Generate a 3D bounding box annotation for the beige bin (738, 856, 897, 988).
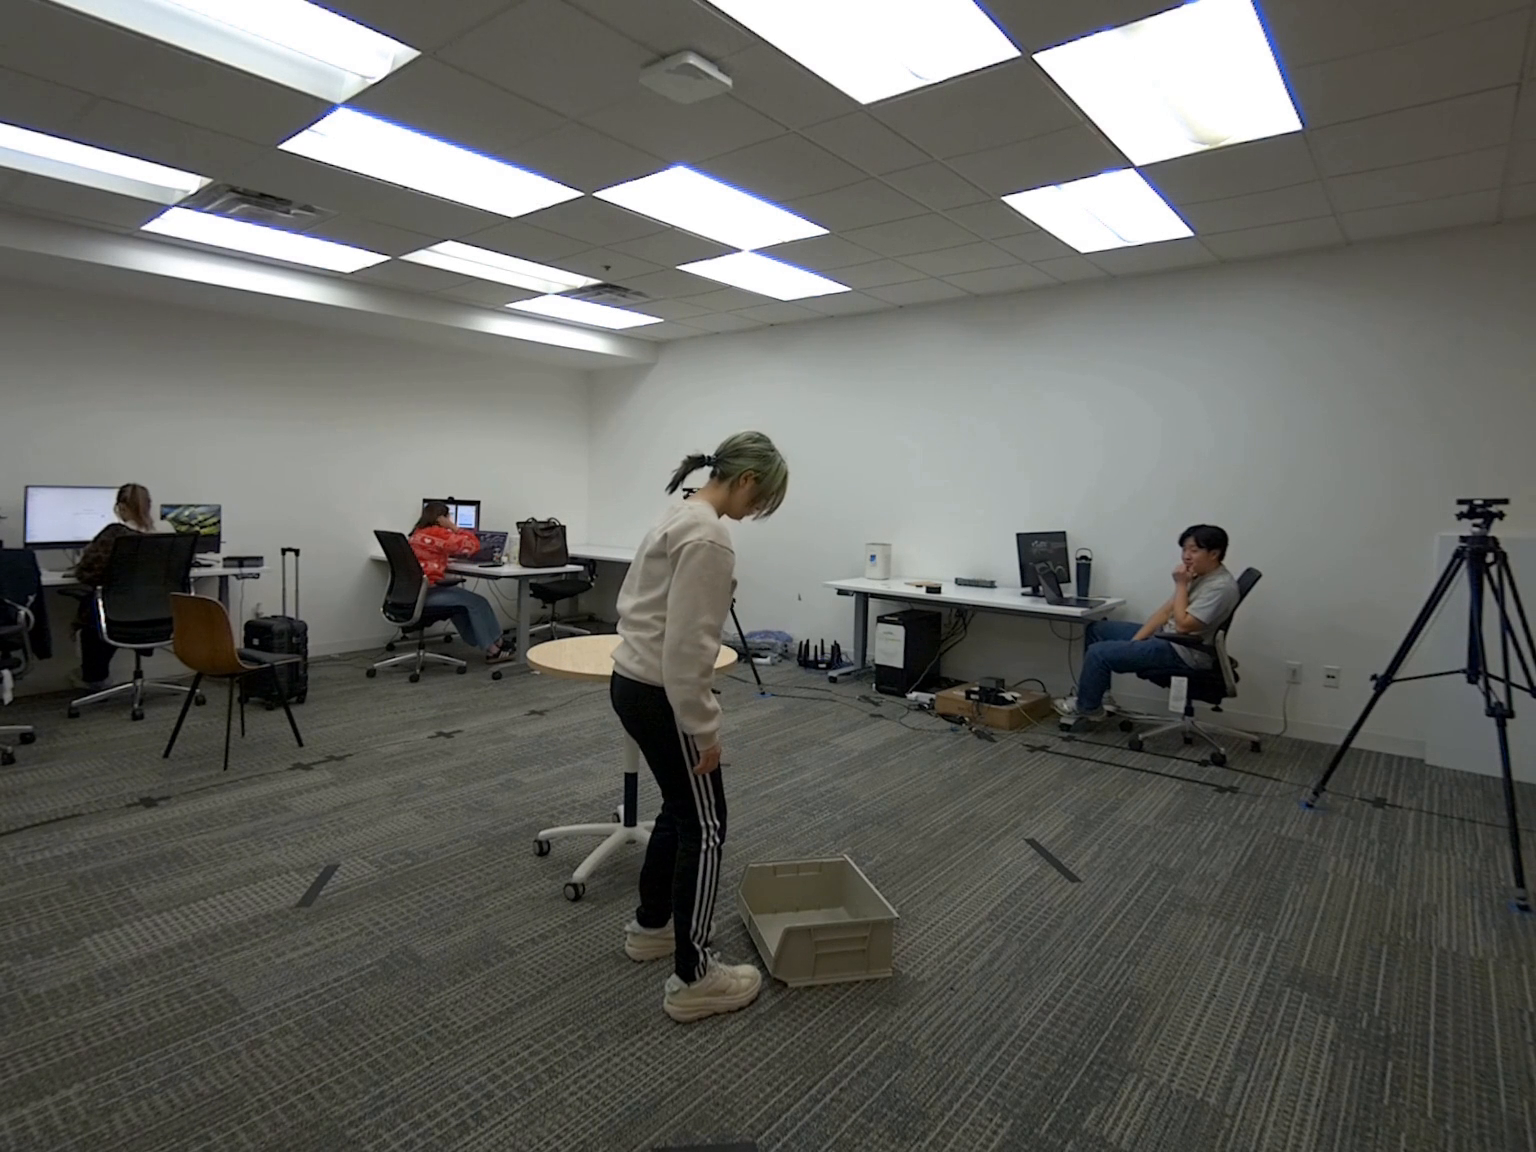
[{"bbox_3d":[0.130,1.039,2.596,0.371,0.188,0.430,0,4,-15],"label":"beige bin"}]
